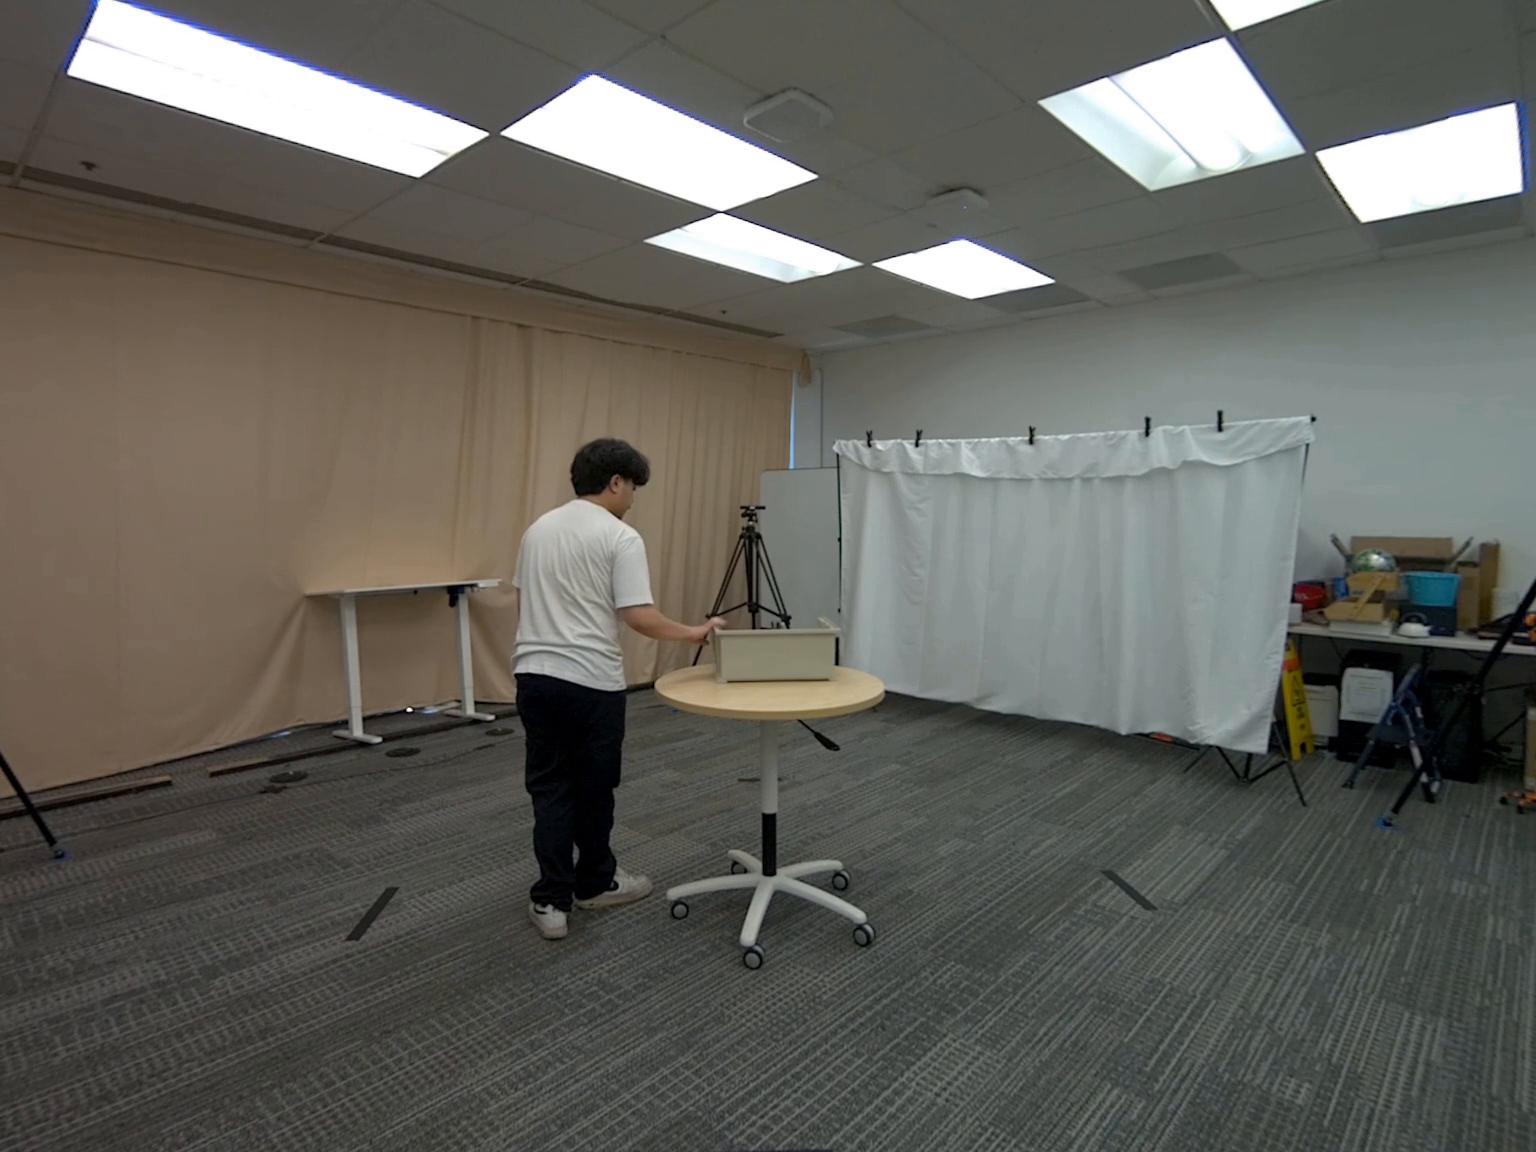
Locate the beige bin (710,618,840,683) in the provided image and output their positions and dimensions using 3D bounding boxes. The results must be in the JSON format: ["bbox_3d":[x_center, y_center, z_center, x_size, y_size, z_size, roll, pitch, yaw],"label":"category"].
[{"bbox_3d":[0.011,0.254,3.004,0.420,0.188,0.380,0,6,-5],"label":"beige bin"}]
